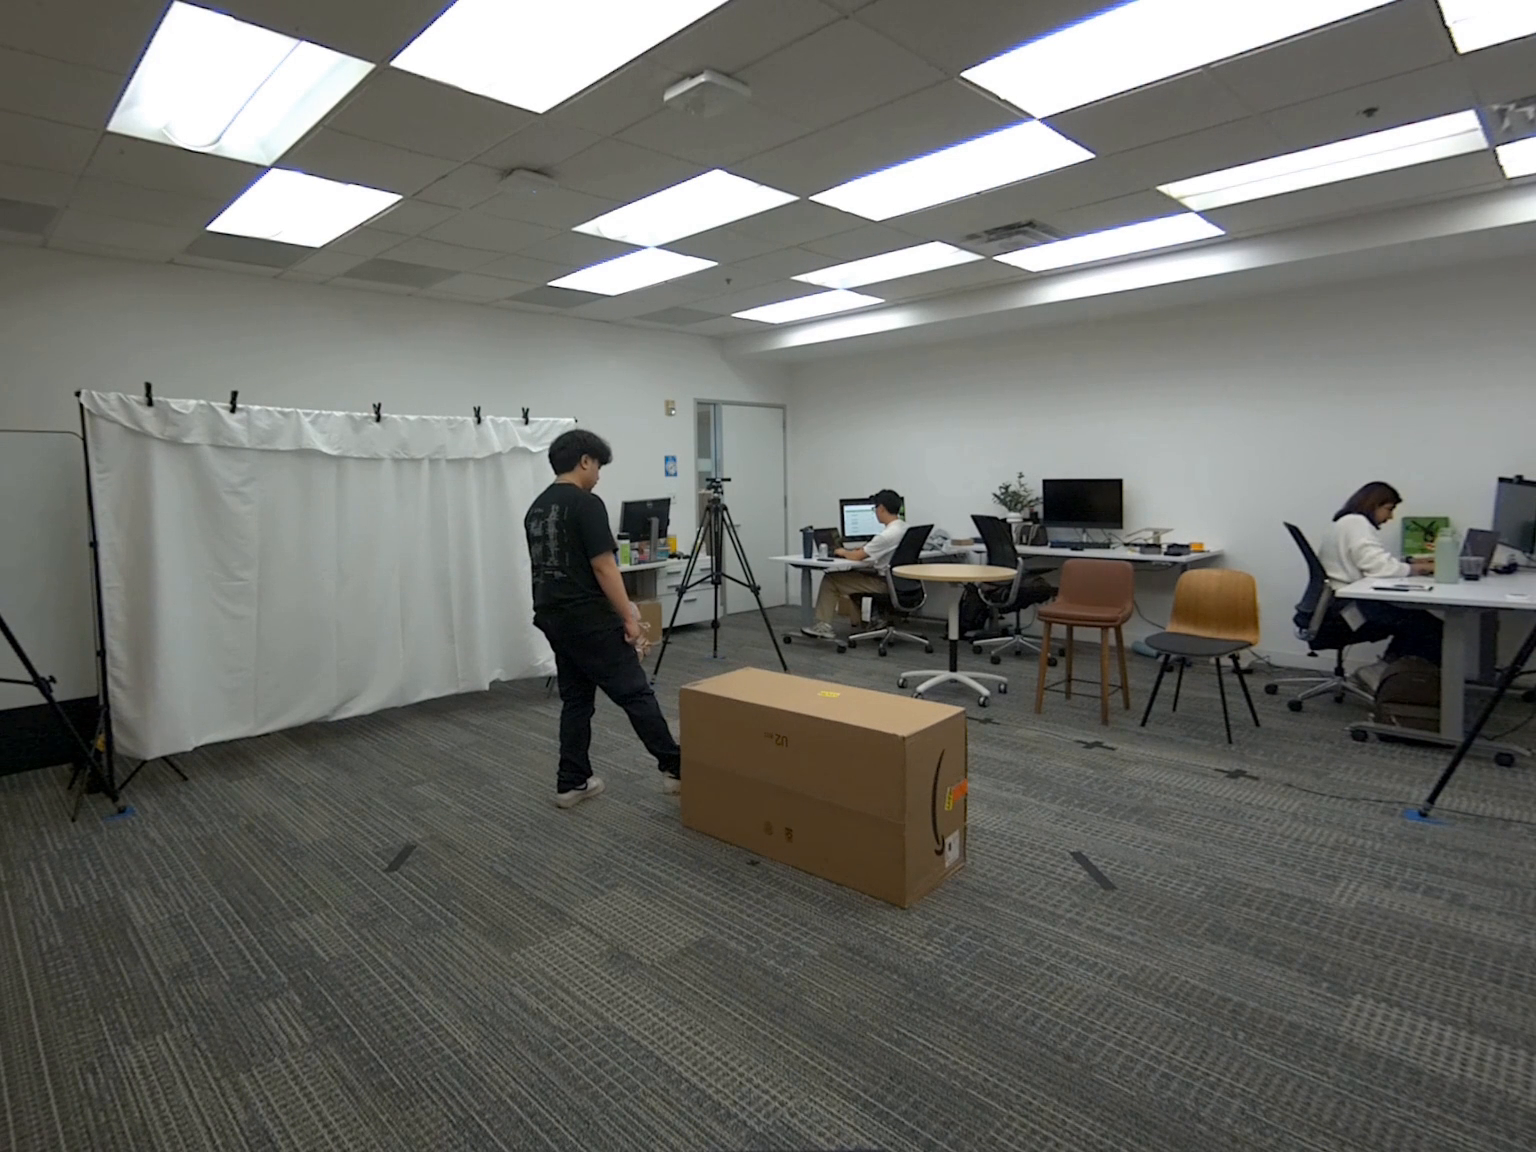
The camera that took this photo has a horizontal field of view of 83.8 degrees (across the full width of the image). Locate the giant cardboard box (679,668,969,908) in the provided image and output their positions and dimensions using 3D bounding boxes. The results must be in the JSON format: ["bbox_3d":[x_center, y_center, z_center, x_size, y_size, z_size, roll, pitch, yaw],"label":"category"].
[{"bbox_3d":[0.182,0.738,3.228,1.059,0.582,0.435,5,7,41],"label":"giant cardboard box"}]
